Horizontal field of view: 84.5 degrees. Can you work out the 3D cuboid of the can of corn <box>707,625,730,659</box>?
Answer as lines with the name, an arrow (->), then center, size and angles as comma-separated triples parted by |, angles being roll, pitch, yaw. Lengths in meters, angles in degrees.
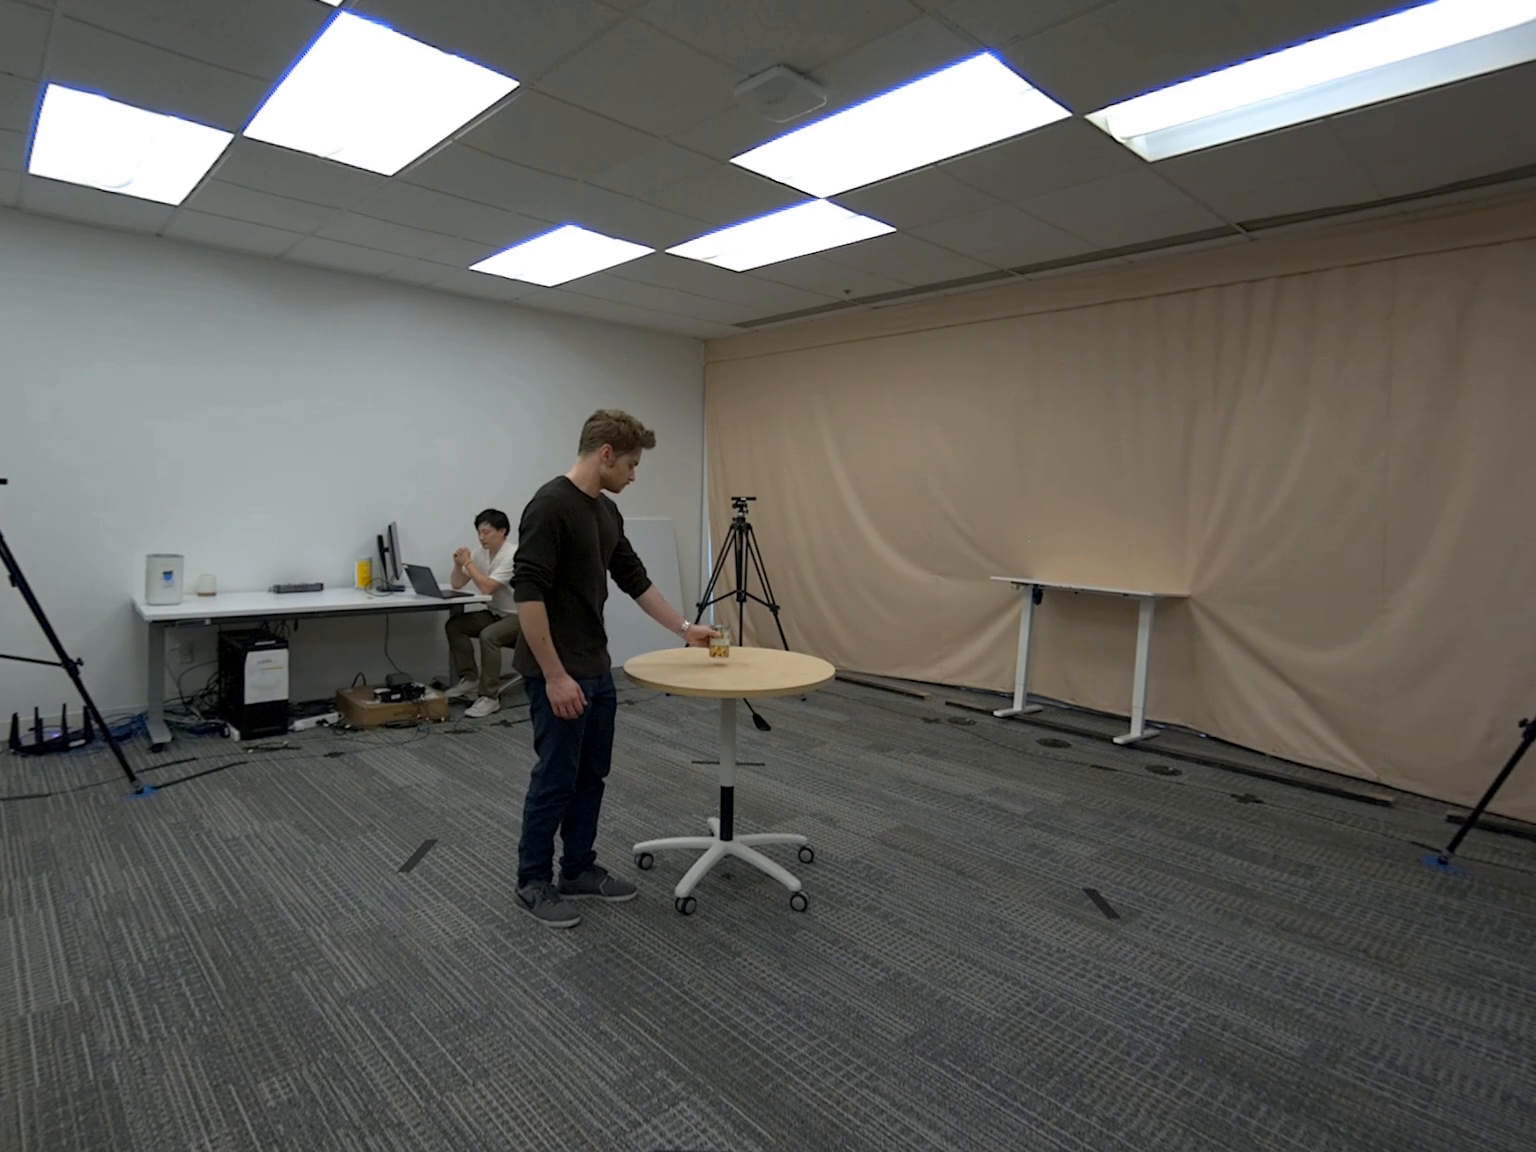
can of corn -> -0.194, 0.239, 3.062 | 0.074, 0.111, 0.074 | 1, -1, -1
